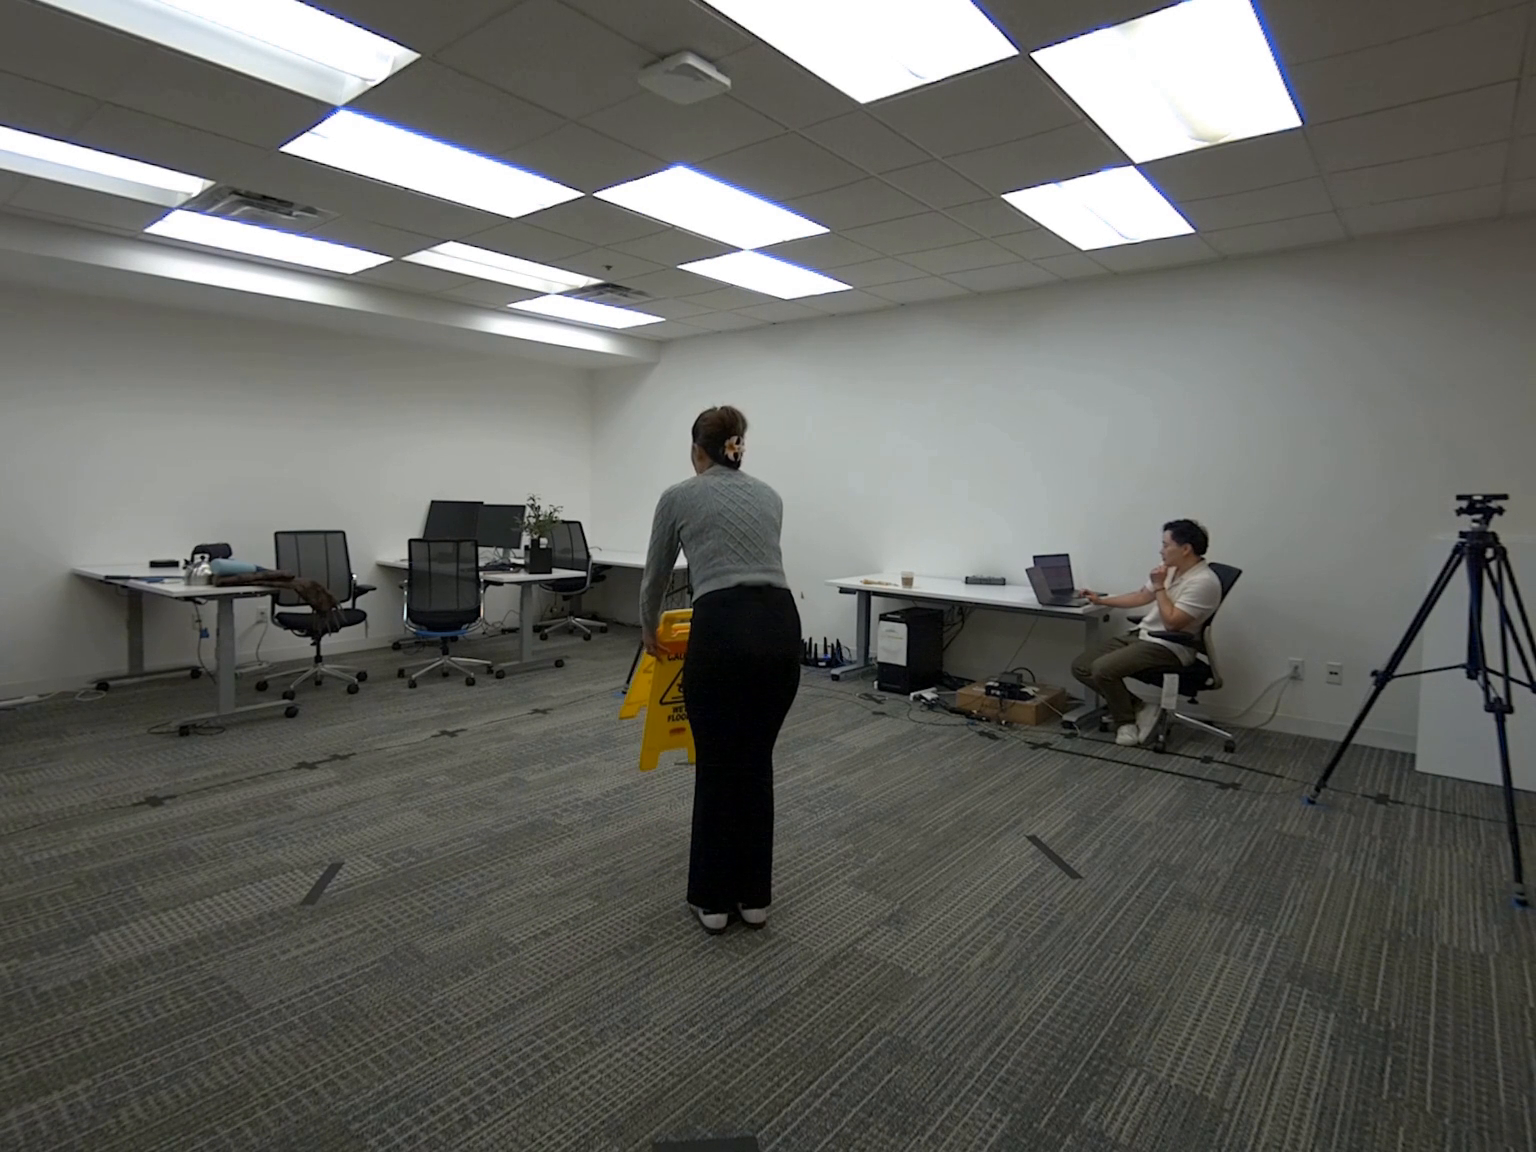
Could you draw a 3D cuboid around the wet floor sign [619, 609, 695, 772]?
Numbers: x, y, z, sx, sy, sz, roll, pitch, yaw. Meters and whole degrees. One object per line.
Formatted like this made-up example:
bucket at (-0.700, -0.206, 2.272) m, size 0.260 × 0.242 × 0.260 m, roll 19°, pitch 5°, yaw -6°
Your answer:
wet floor sign at (-0.375, 0.390, 3.248) m, size 0.275 × 0.635 × 0.302 m, roll -1°, pitch 34°, yaw -27°
